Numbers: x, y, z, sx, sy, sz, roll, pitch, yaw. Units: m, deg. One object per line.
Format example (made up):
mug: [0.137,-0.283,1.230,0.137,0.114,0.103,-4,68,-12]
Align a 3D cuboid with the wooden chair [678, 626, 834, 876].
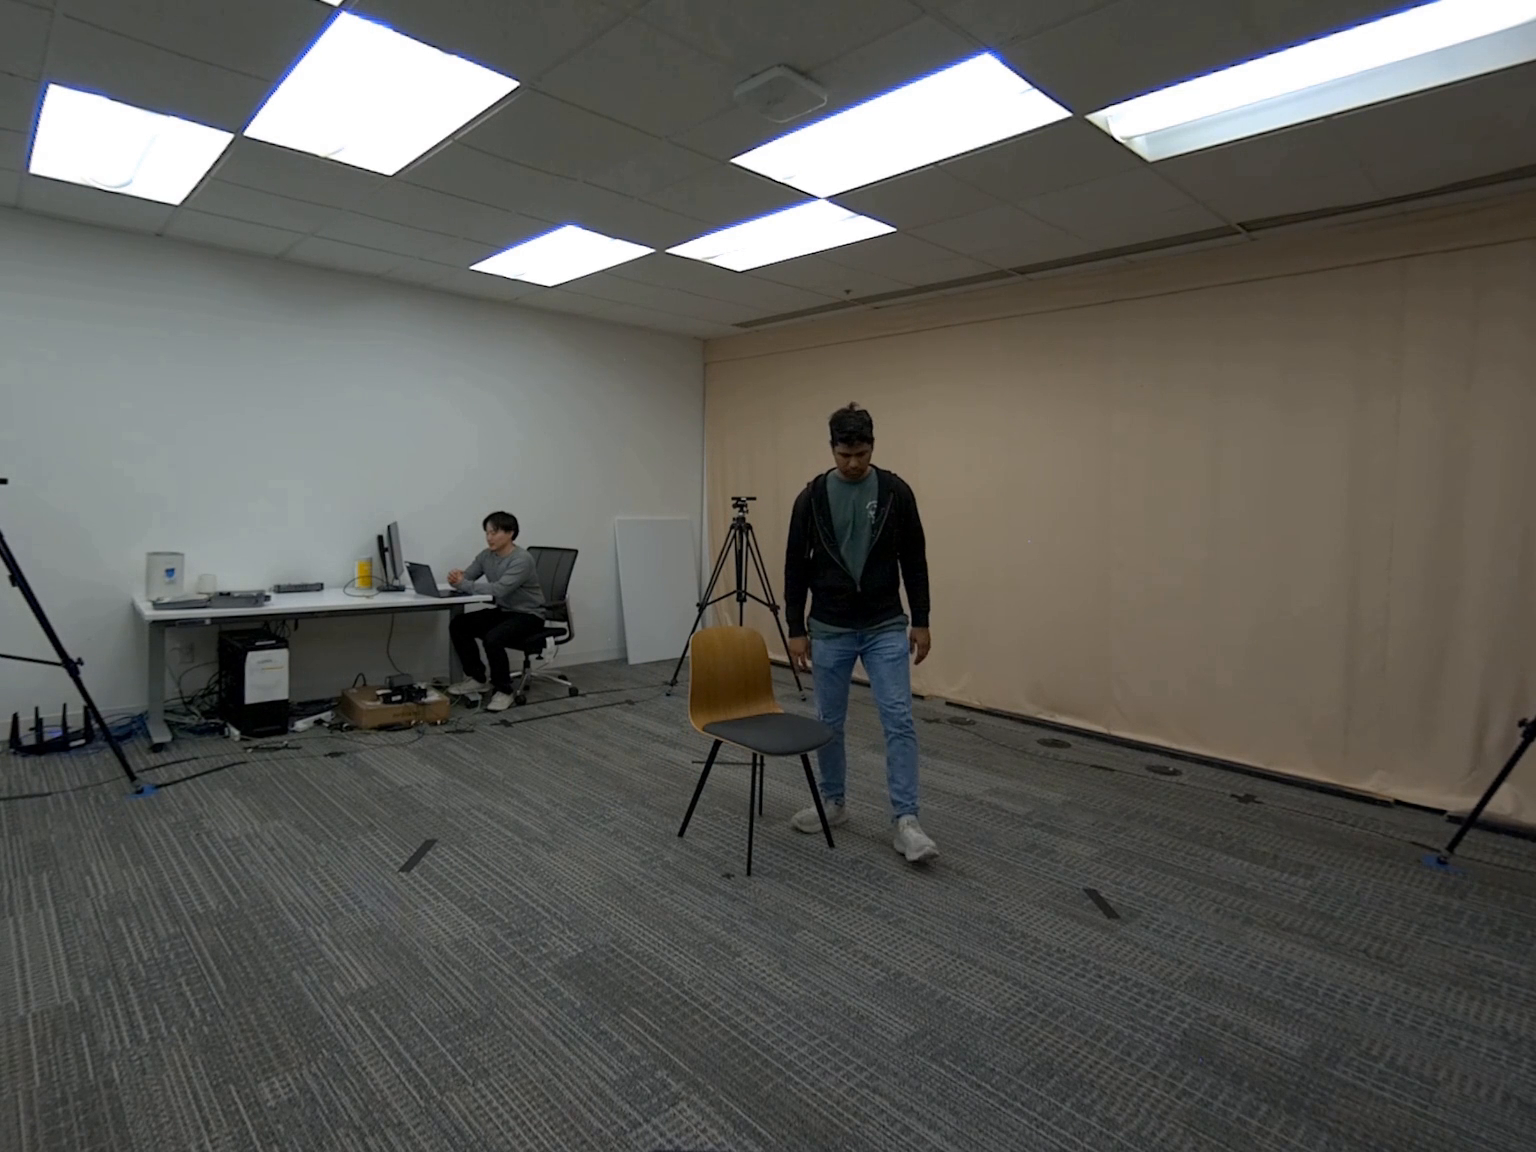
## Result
wooden chair: [-0.047,0.657,3.375,0.467,0.878,0.535,-1,-1,-40]
